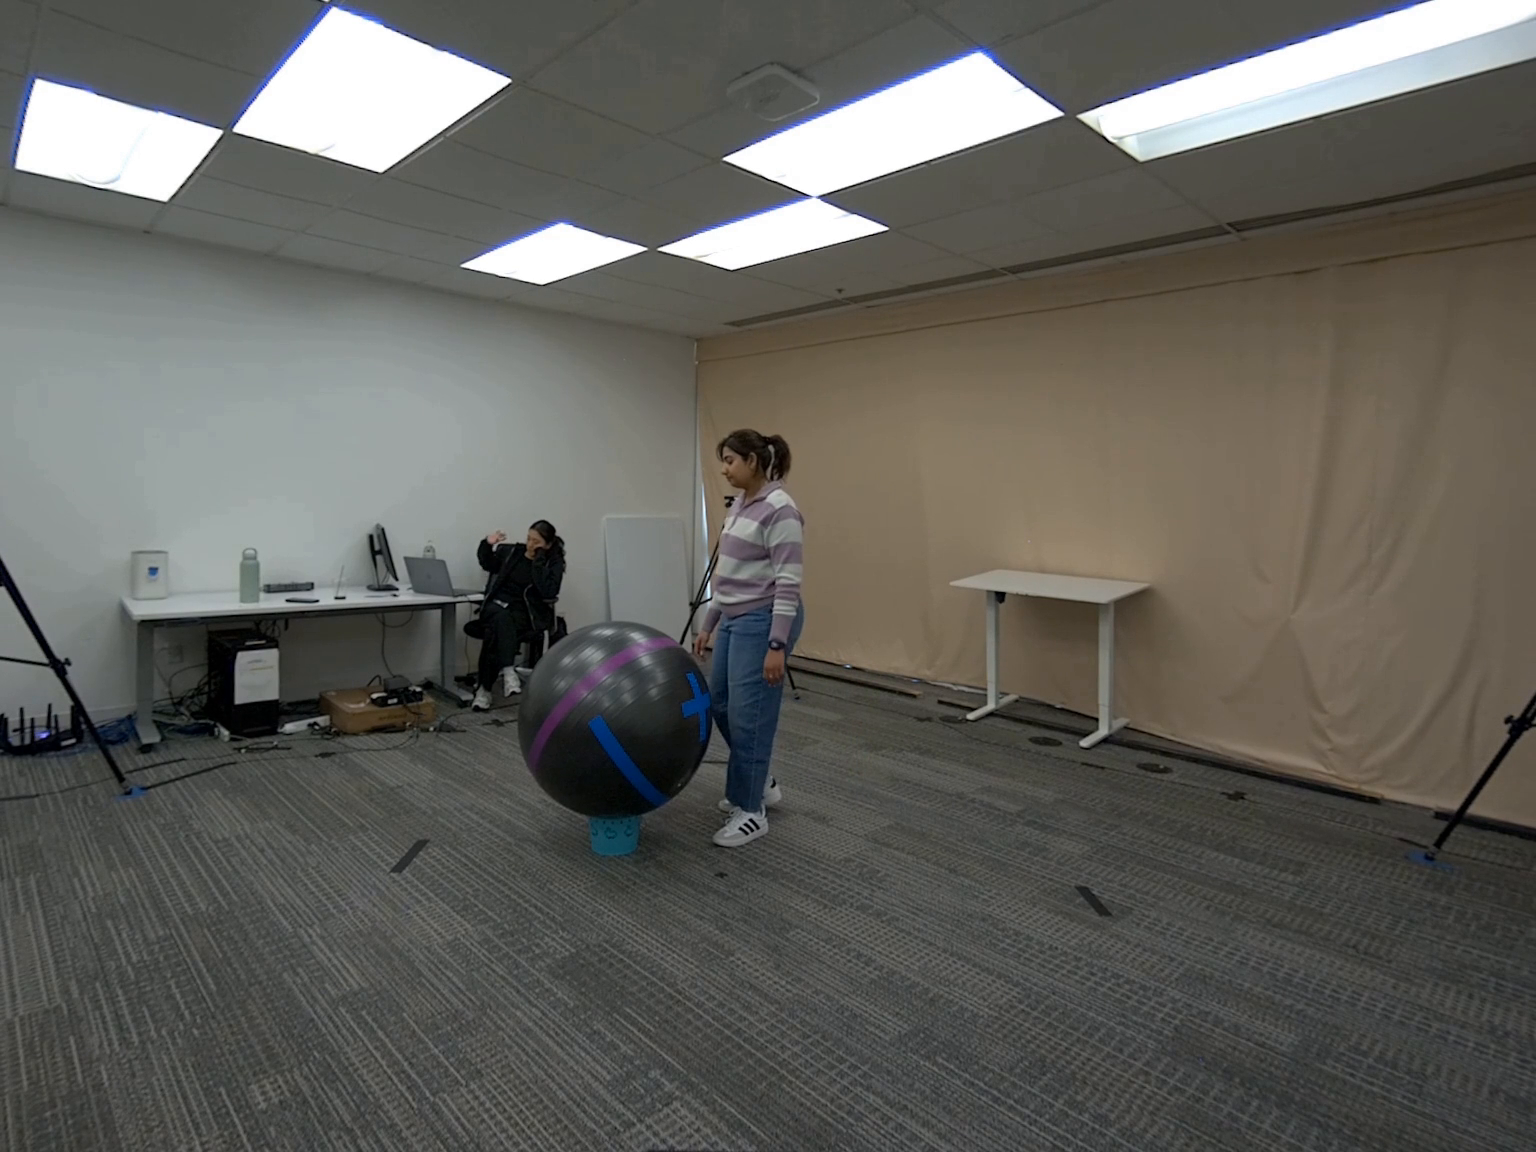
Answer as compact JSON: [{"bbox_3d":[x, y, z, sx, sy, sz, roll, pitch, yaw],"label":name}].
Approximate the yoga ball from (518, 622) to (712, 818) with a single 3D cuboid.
[{"bbox_3d":[-0.610,0.564,3.317,0.757,0.756,0.761,1,4,-1],"label":"yoga ball"}]
